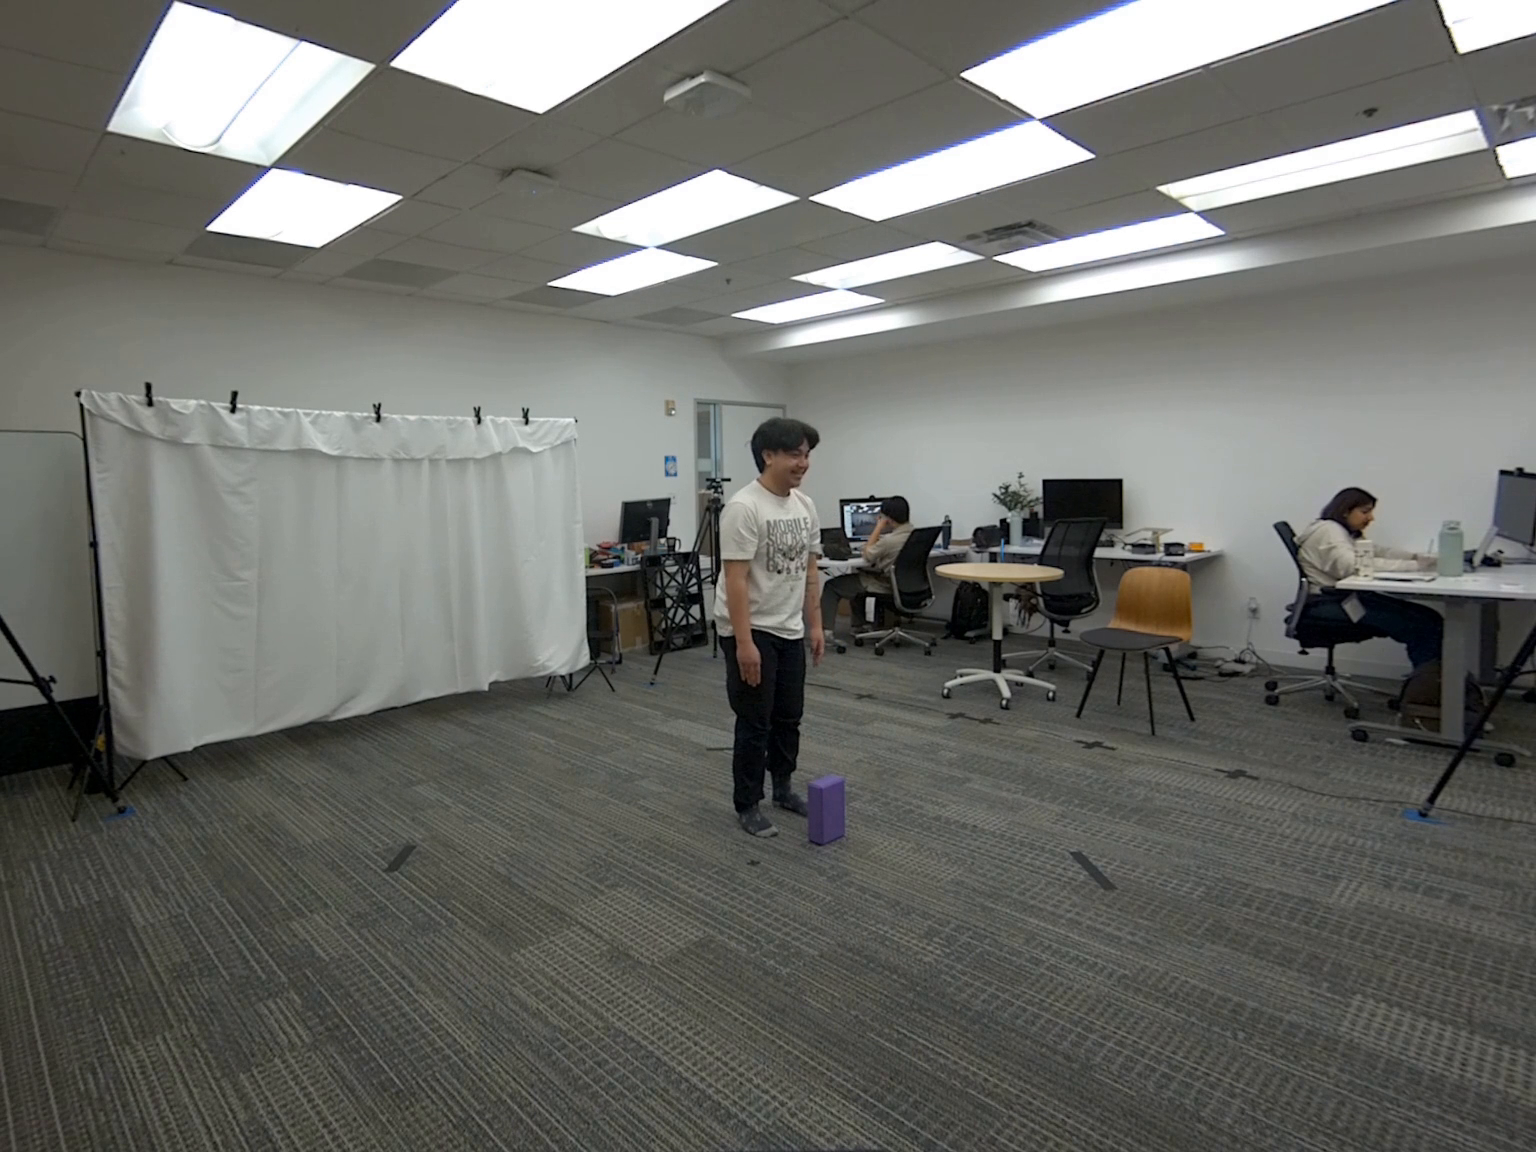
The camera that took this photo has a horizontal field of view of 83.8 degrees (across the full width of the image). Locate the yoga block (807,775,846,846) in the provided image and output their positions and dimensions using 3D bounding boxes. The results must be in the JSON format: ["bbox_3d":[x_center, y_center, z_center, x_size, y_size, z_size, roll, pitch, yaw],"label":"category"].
[{"bbox_3d":[0.232,0.902,3.302,0.079,0.229,0.145,2,4,45],"label":"yoga block"}]
